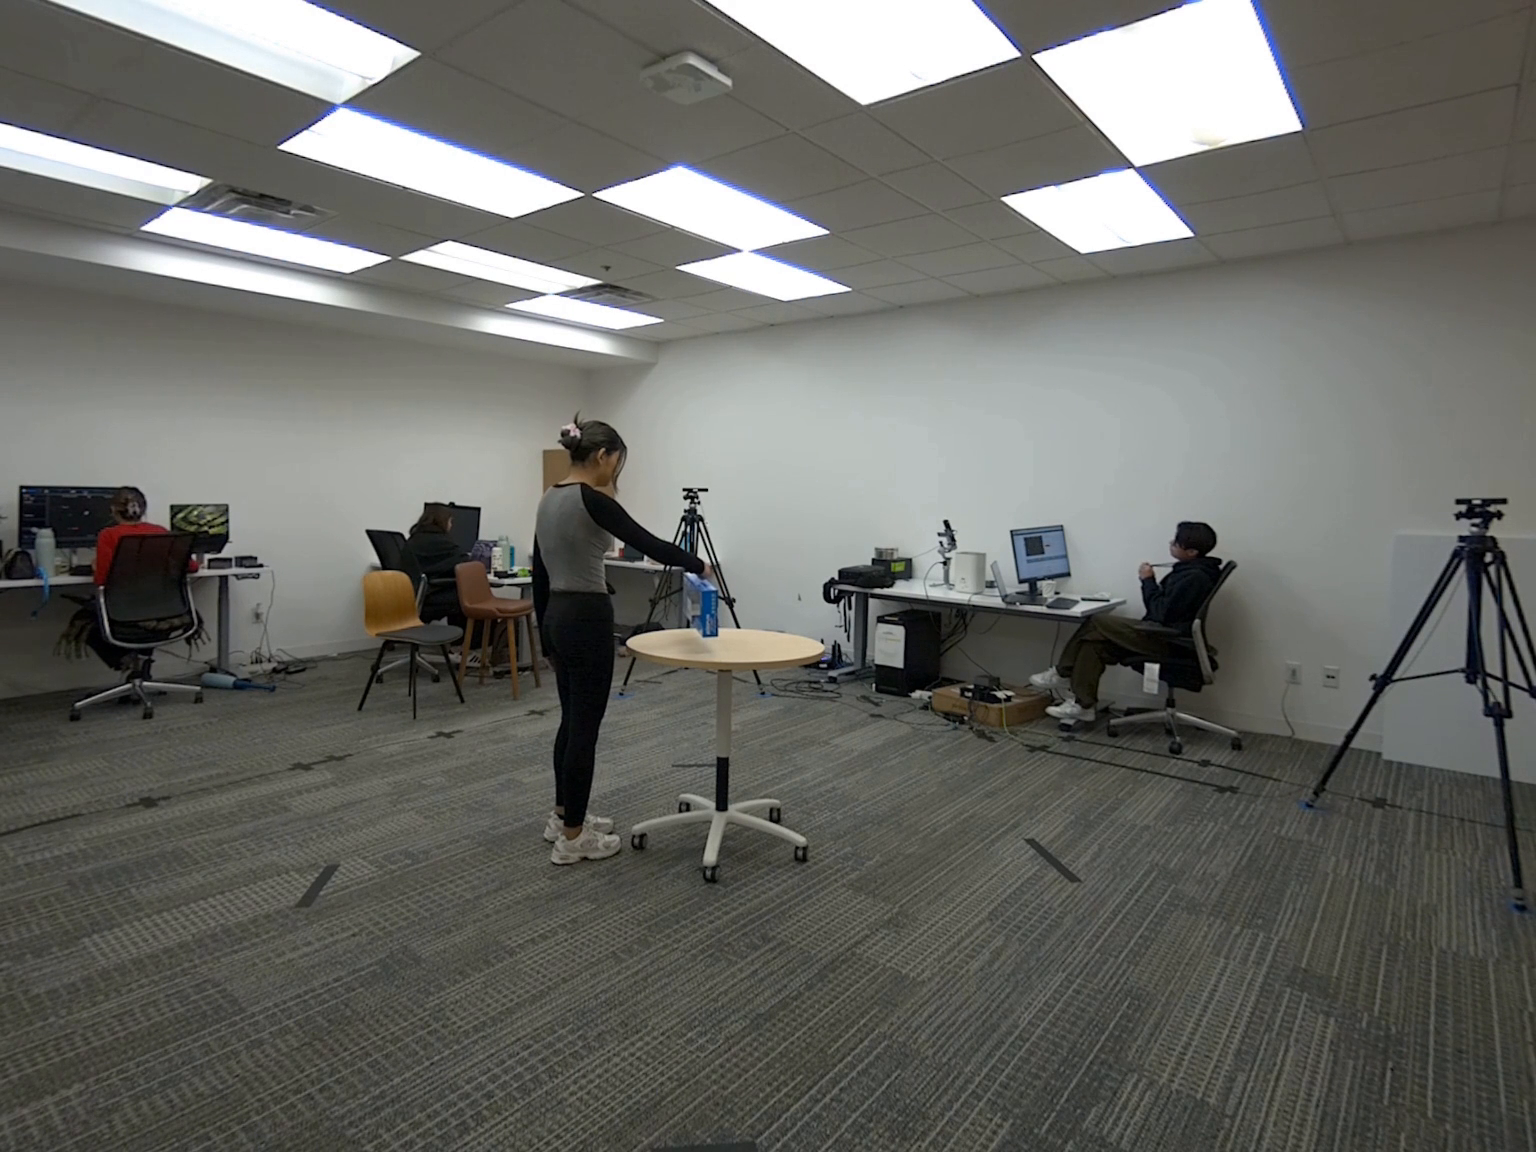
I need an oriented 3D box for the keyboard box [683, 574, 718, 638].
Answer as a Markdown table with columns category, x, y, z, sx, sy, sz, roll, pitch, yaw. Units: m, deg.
| category | x | y | z | sx | sy | sz | roll | pitch | yaw |
| --- | --- | --- | --- | --- | --- | --- | --- | --- | --- |
| keyboard box | -0.272 | 0.104 | 3.240 | 0.058 | 0.175 | 0.445 | -3 | 9 | -14 |
